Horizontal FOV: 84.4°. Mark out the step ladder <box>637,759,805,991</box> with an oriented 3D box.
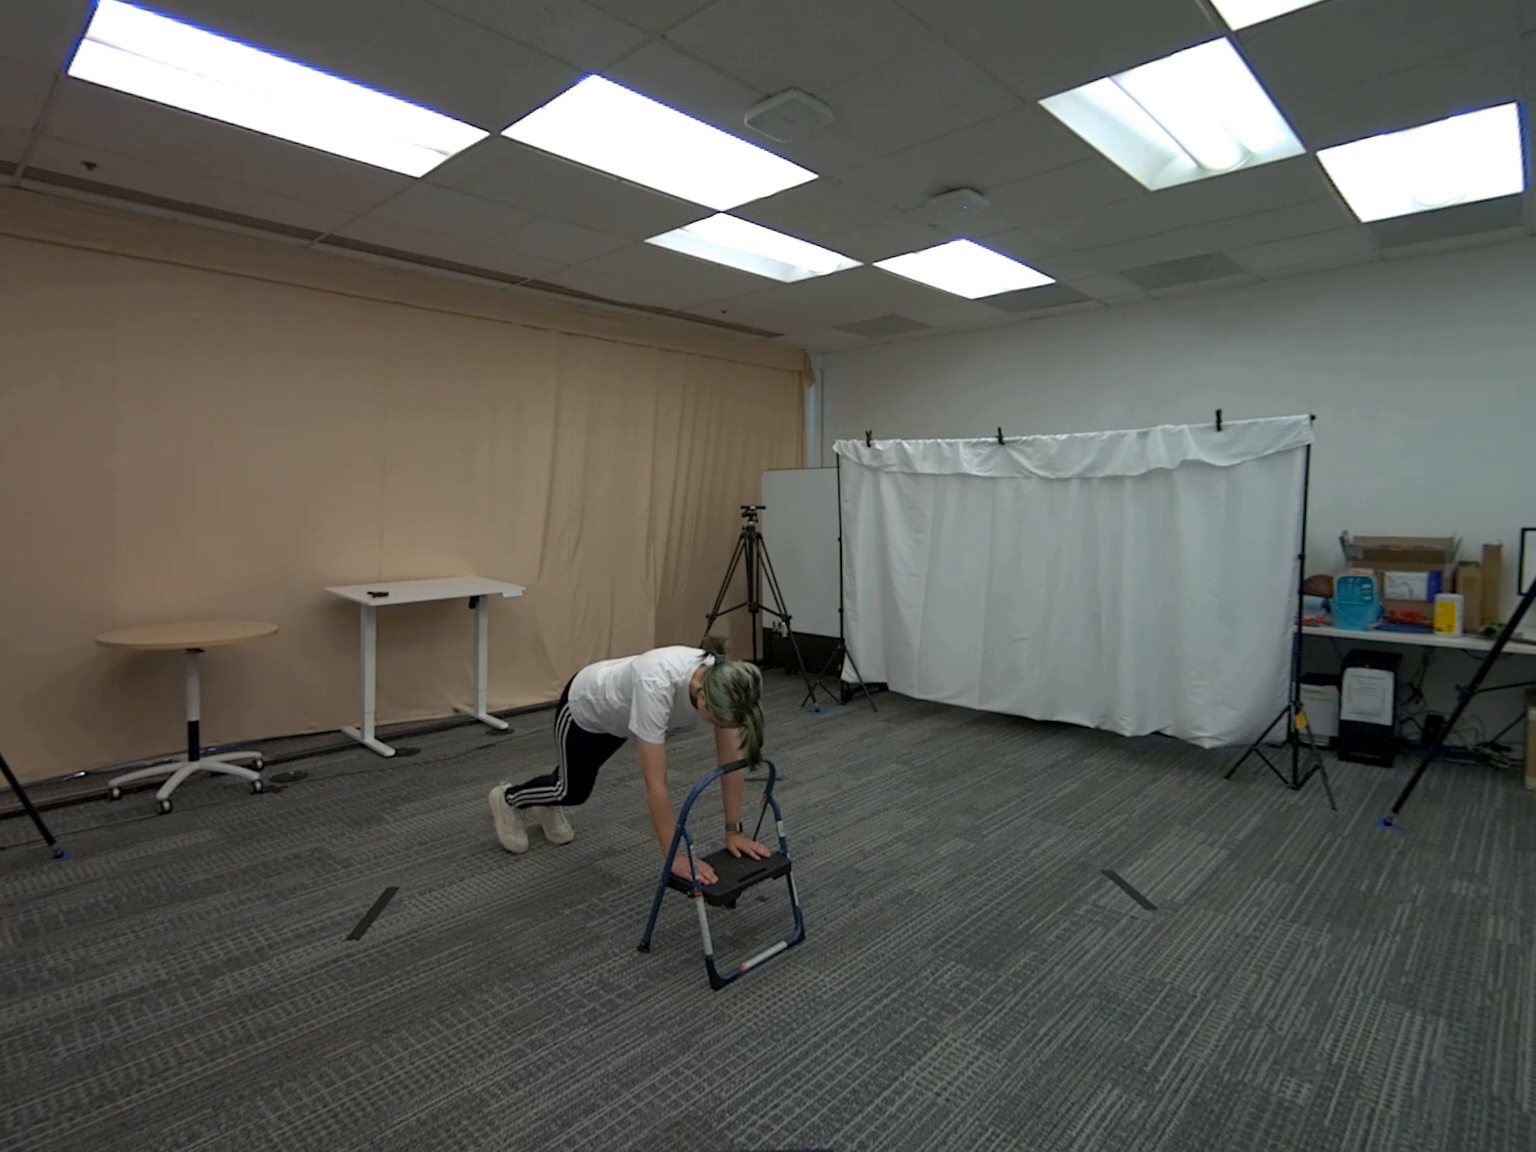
[{"bbox_3d":[-0.140,0.870,2.662,0.361,0.605,0.417,2,4,42],"label":"step ladder"}]
